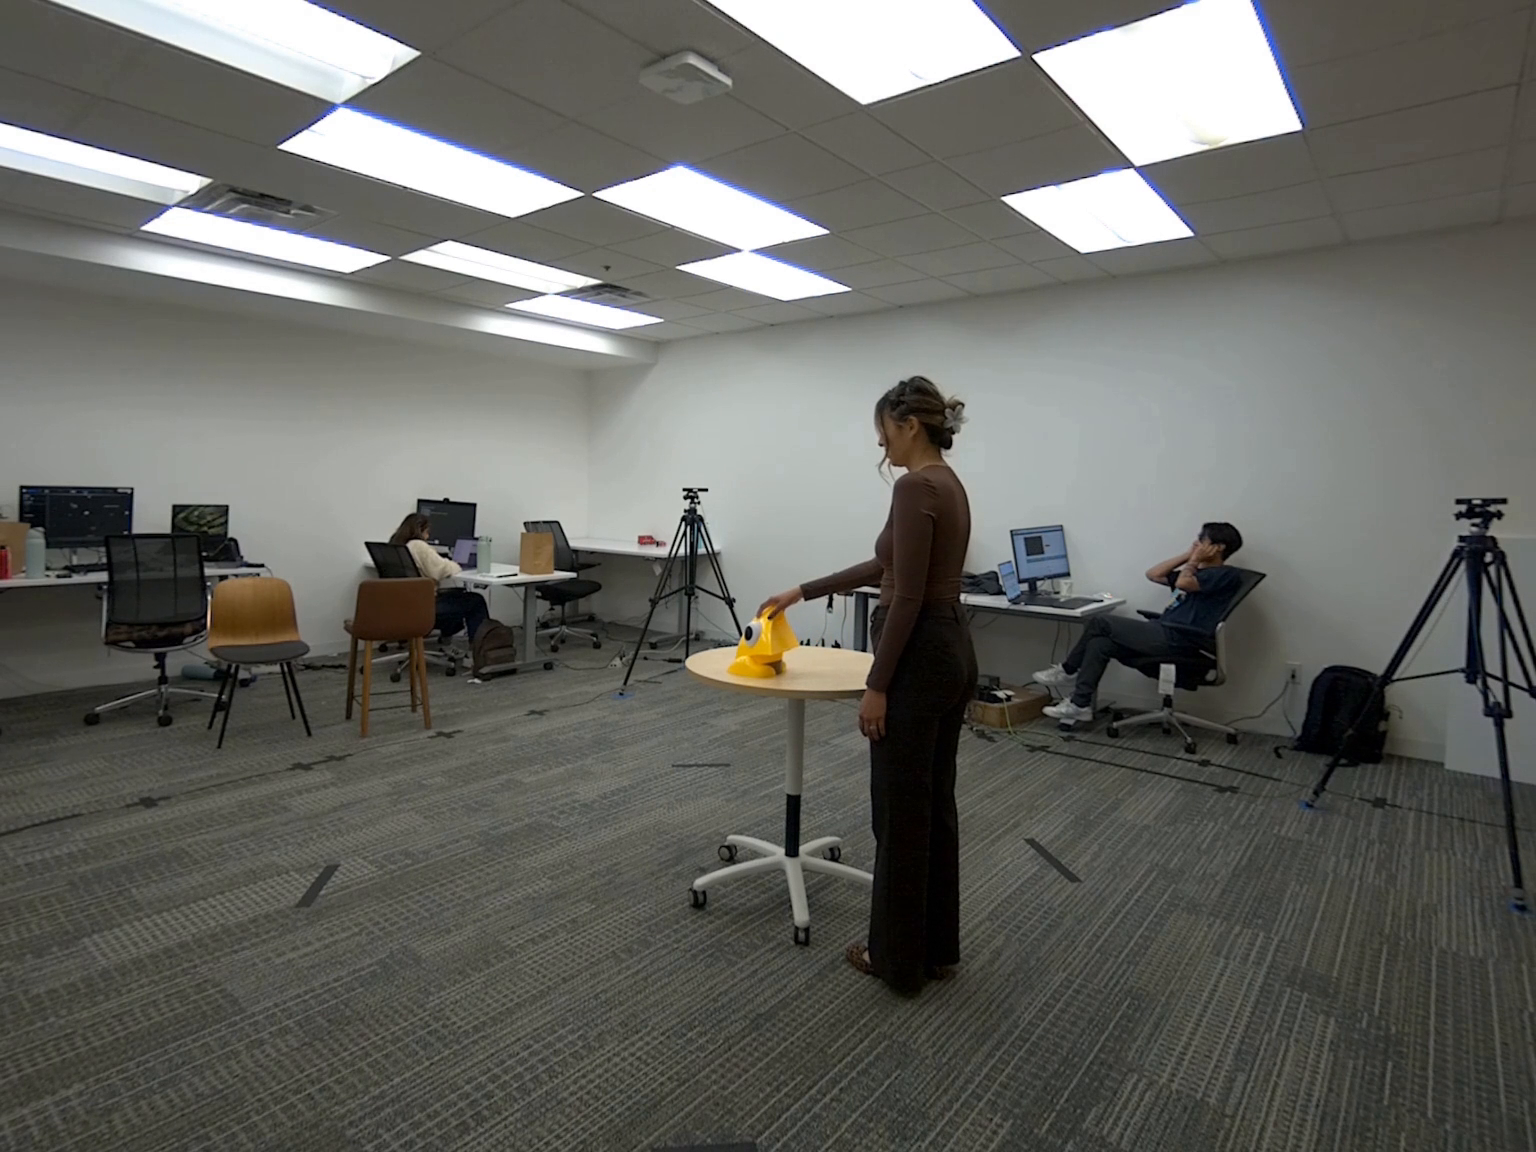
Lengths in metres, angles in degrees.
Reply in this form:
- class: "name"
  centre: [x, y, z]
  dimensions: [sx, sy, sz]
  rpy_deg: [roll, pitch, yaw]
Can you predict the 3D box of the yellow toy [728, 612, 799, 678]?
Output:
- class: "yellow toy"
  centre: [-0.030, 0.196, 2.763]
  dimensions: [0.198, 0.230, 0.199]
  rpy_deg: [3, 4, 29]
